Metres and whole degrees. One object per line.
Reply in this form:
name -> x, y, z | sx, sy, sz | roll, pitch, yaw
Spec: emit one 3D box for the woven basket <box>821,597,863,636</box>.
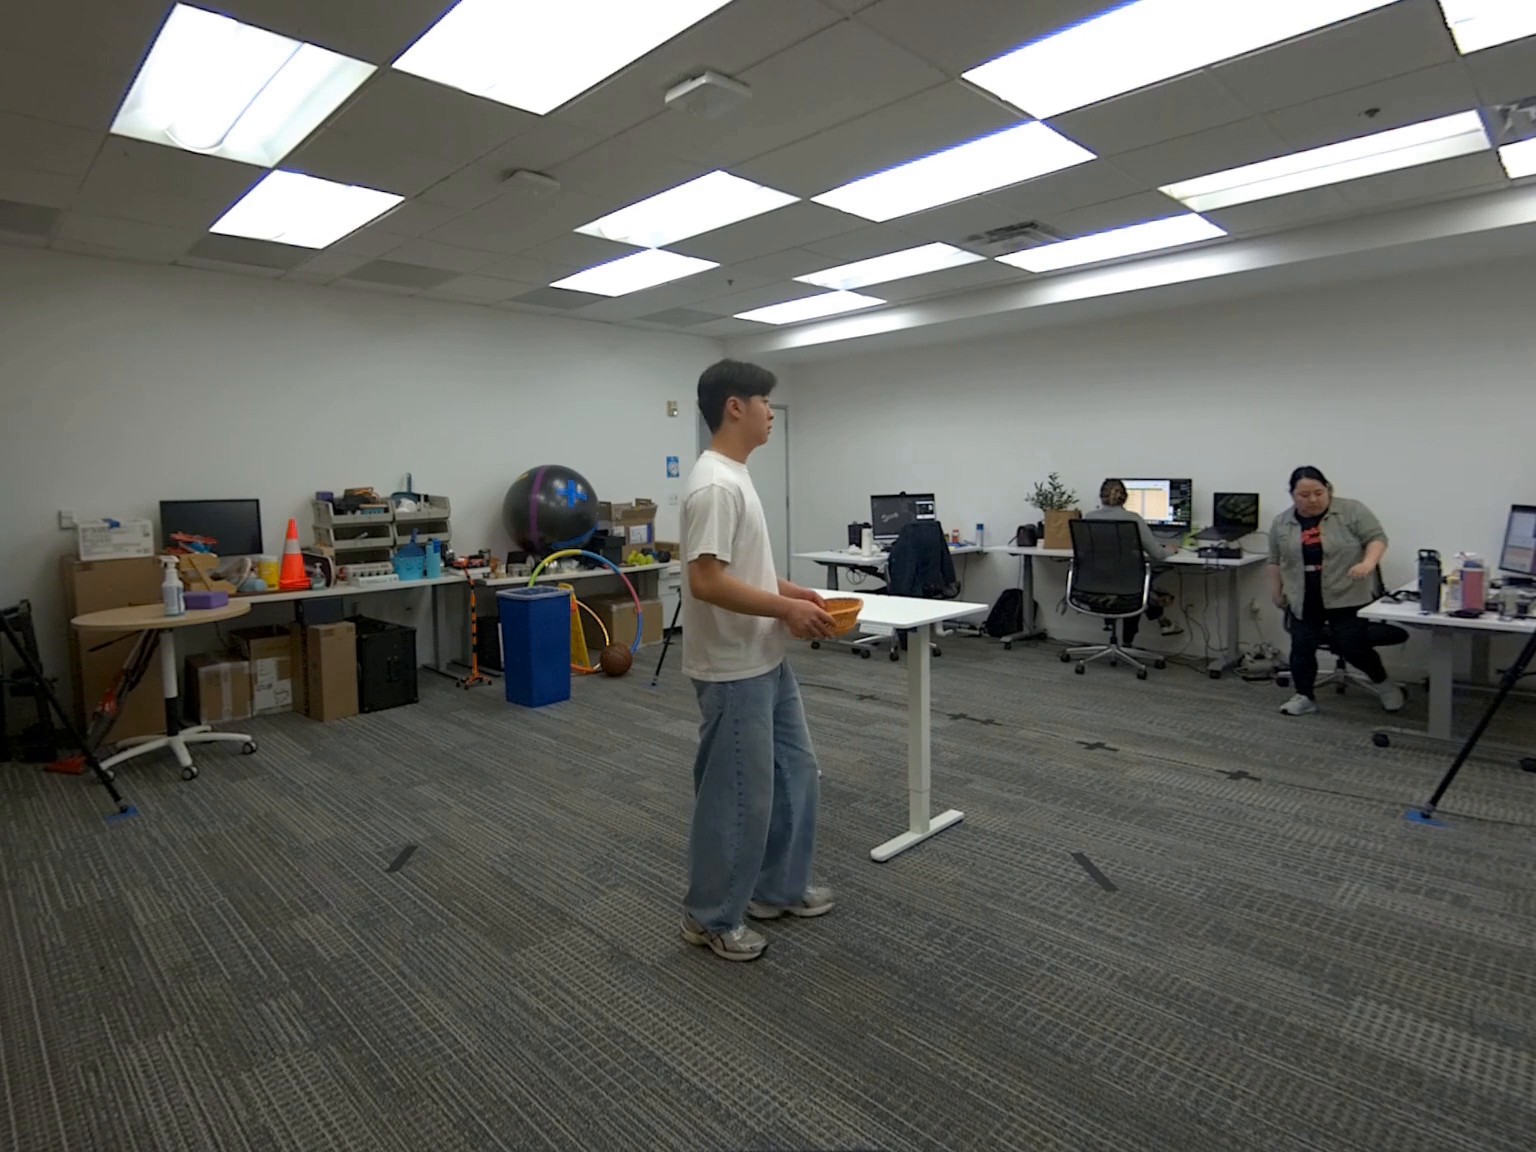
woven basket -> 0.138, 0.131, 2.552 | 0.255, 0.073, 0.348 | -7, 5, 11
